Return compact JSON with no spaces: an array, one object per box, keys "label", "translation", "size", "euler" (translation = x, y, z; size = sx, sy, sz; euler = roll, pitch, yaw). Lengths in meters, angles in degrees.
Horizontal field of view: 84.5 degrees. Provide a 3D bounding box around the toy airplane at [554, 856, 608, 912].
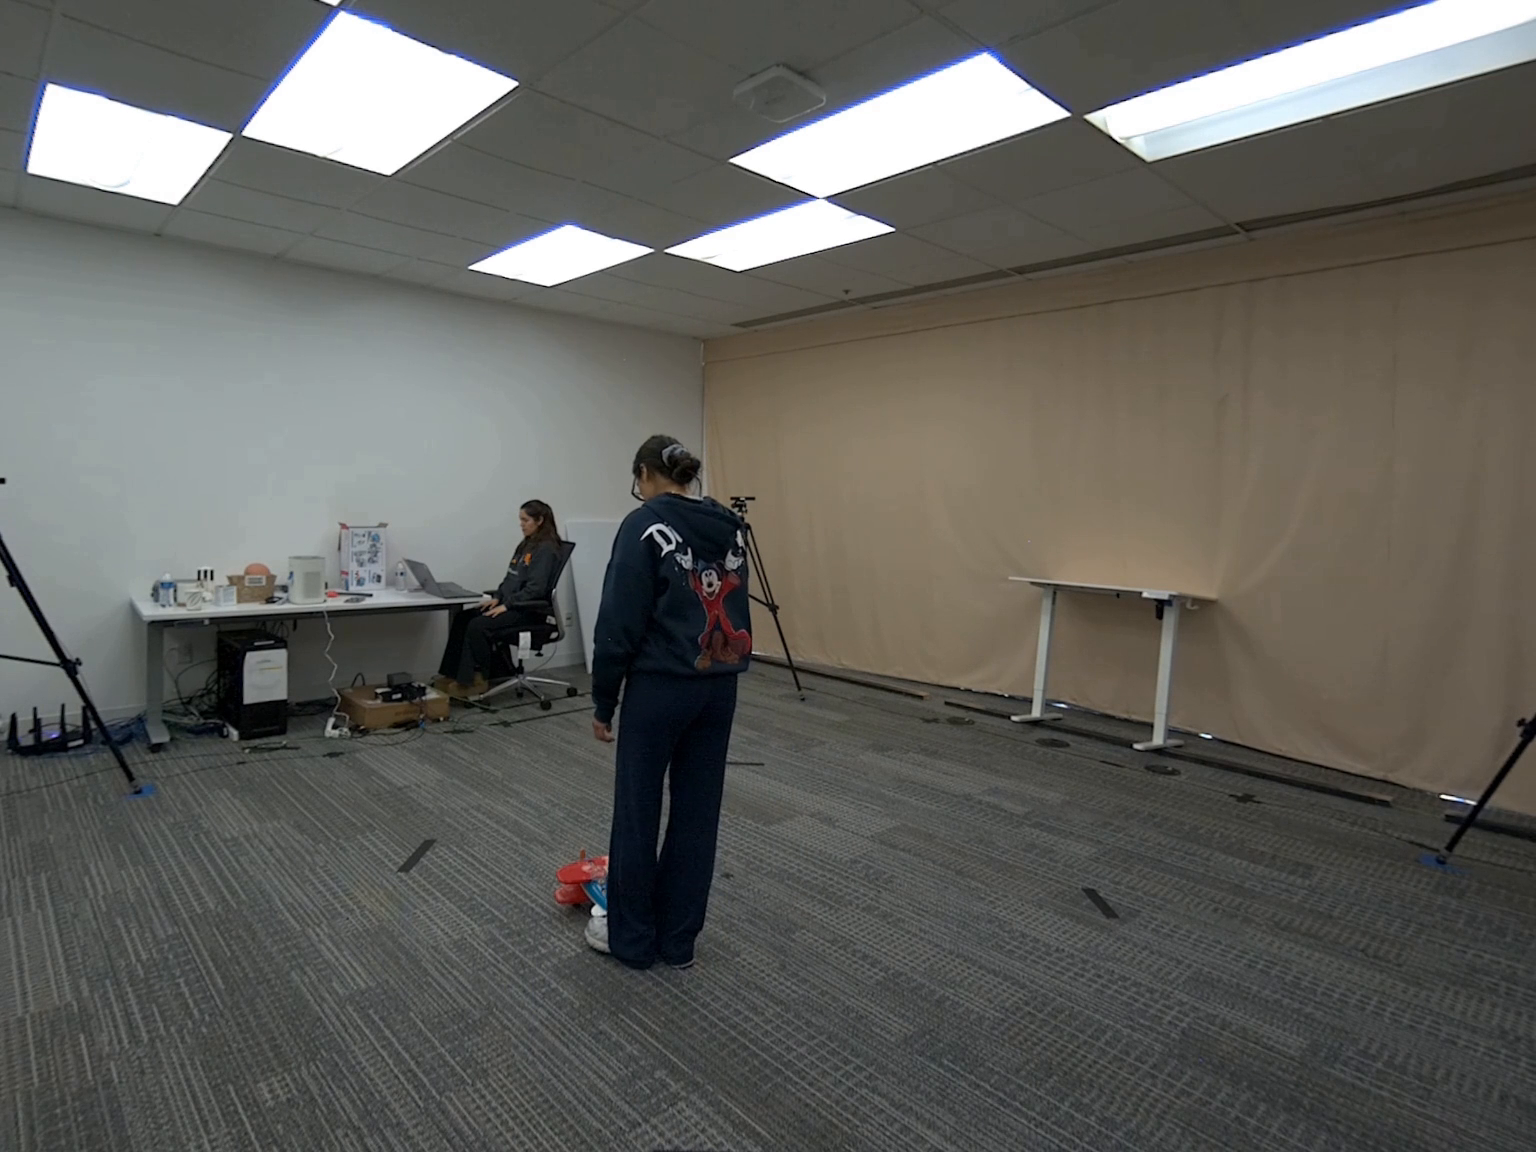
[{"label":"toy airplane","translation":[-0.561,1.050,2.811],"size":[0.265,0.156,0.246],"euler":[3,4,29]}]
